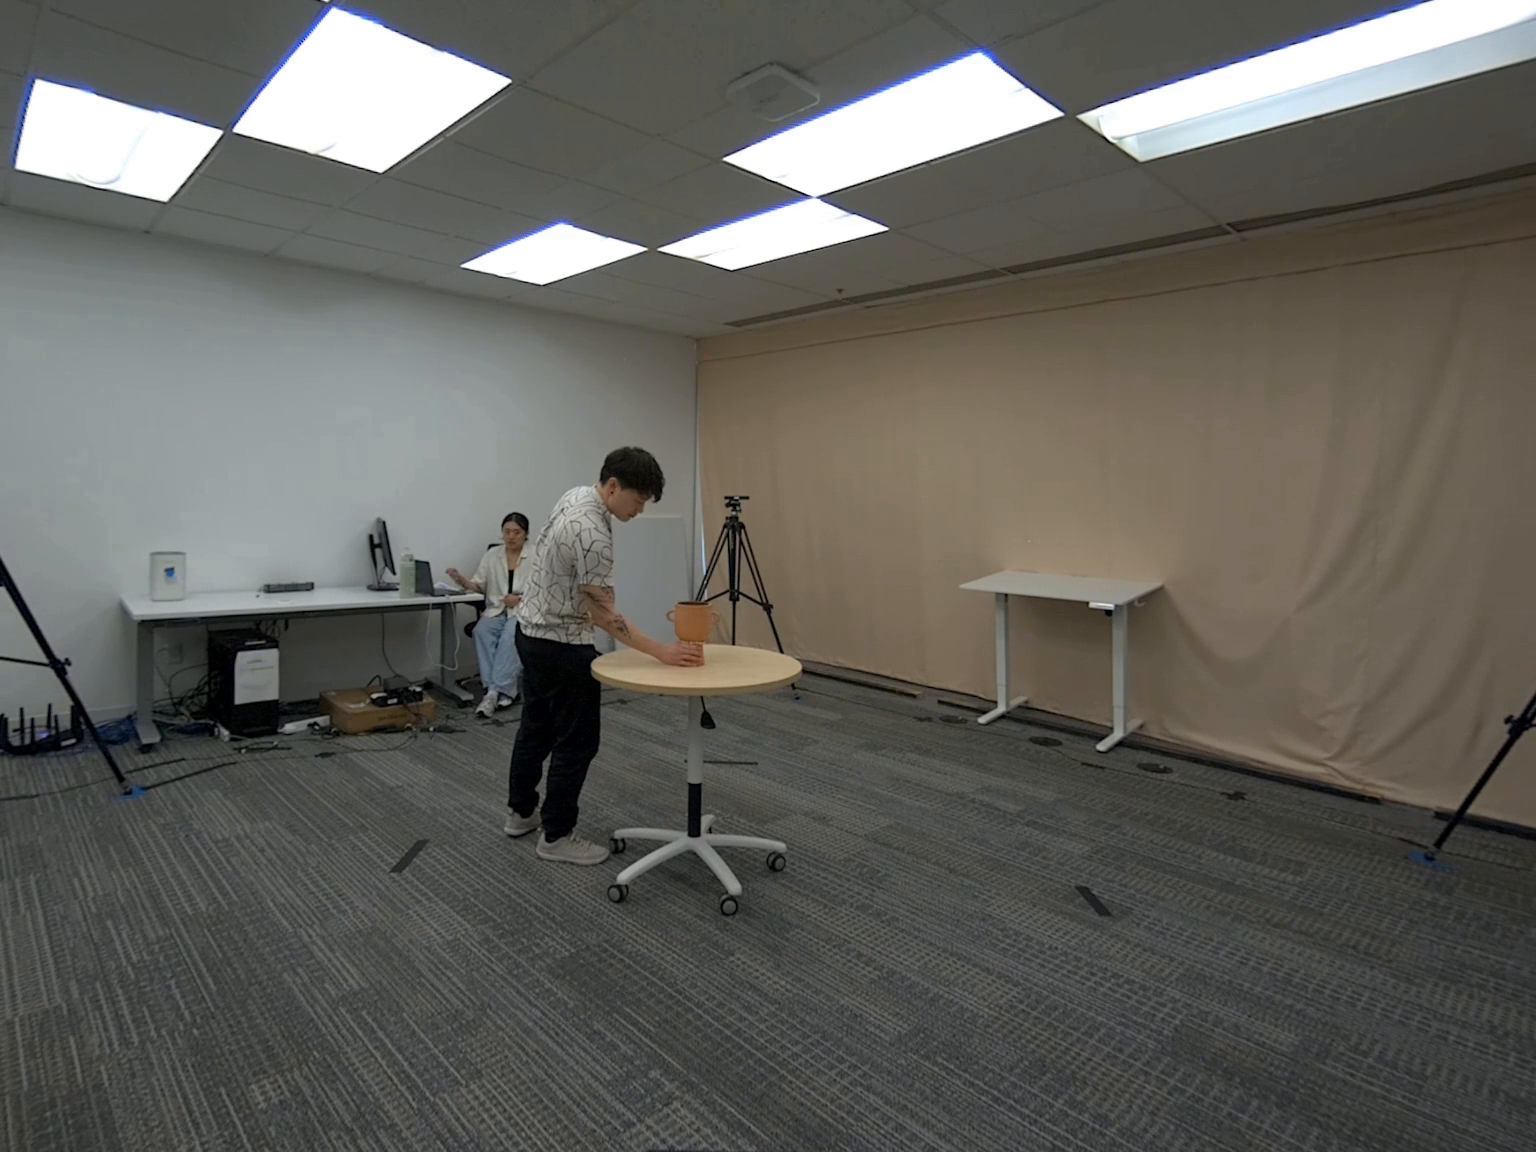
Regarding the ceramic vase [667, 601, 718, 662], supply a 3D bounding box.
[{"bbox_3d":[-0.284,0.213,3.054,0.163,0.219,0.131,7,7,42],"label":"ceramic vase"}]
